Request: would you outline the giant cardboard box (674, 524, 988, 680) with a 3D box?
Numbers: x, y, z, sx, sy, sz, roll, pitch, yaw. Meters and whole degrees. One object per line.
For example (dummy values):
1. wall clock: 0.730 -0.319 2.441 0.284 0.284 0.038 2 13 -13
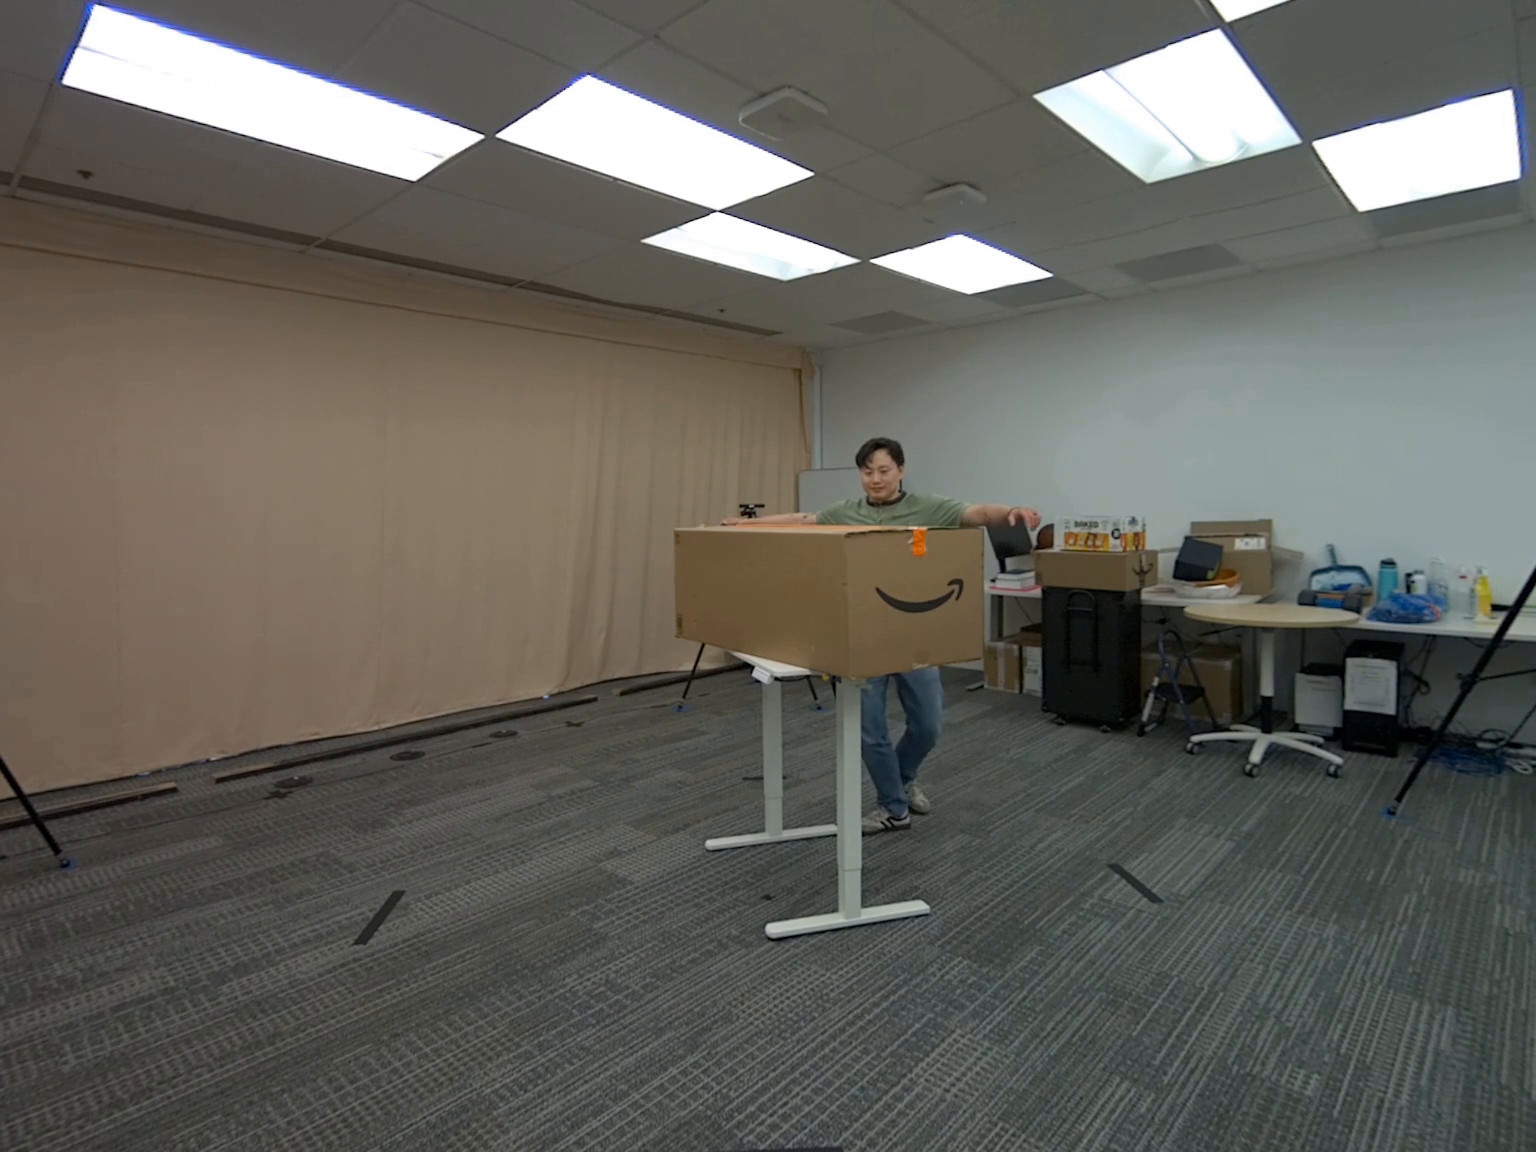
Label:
1. giant cardboard box: 0.166 0.041 2.977 0.561 0.425 1.057 -3 4 -33
